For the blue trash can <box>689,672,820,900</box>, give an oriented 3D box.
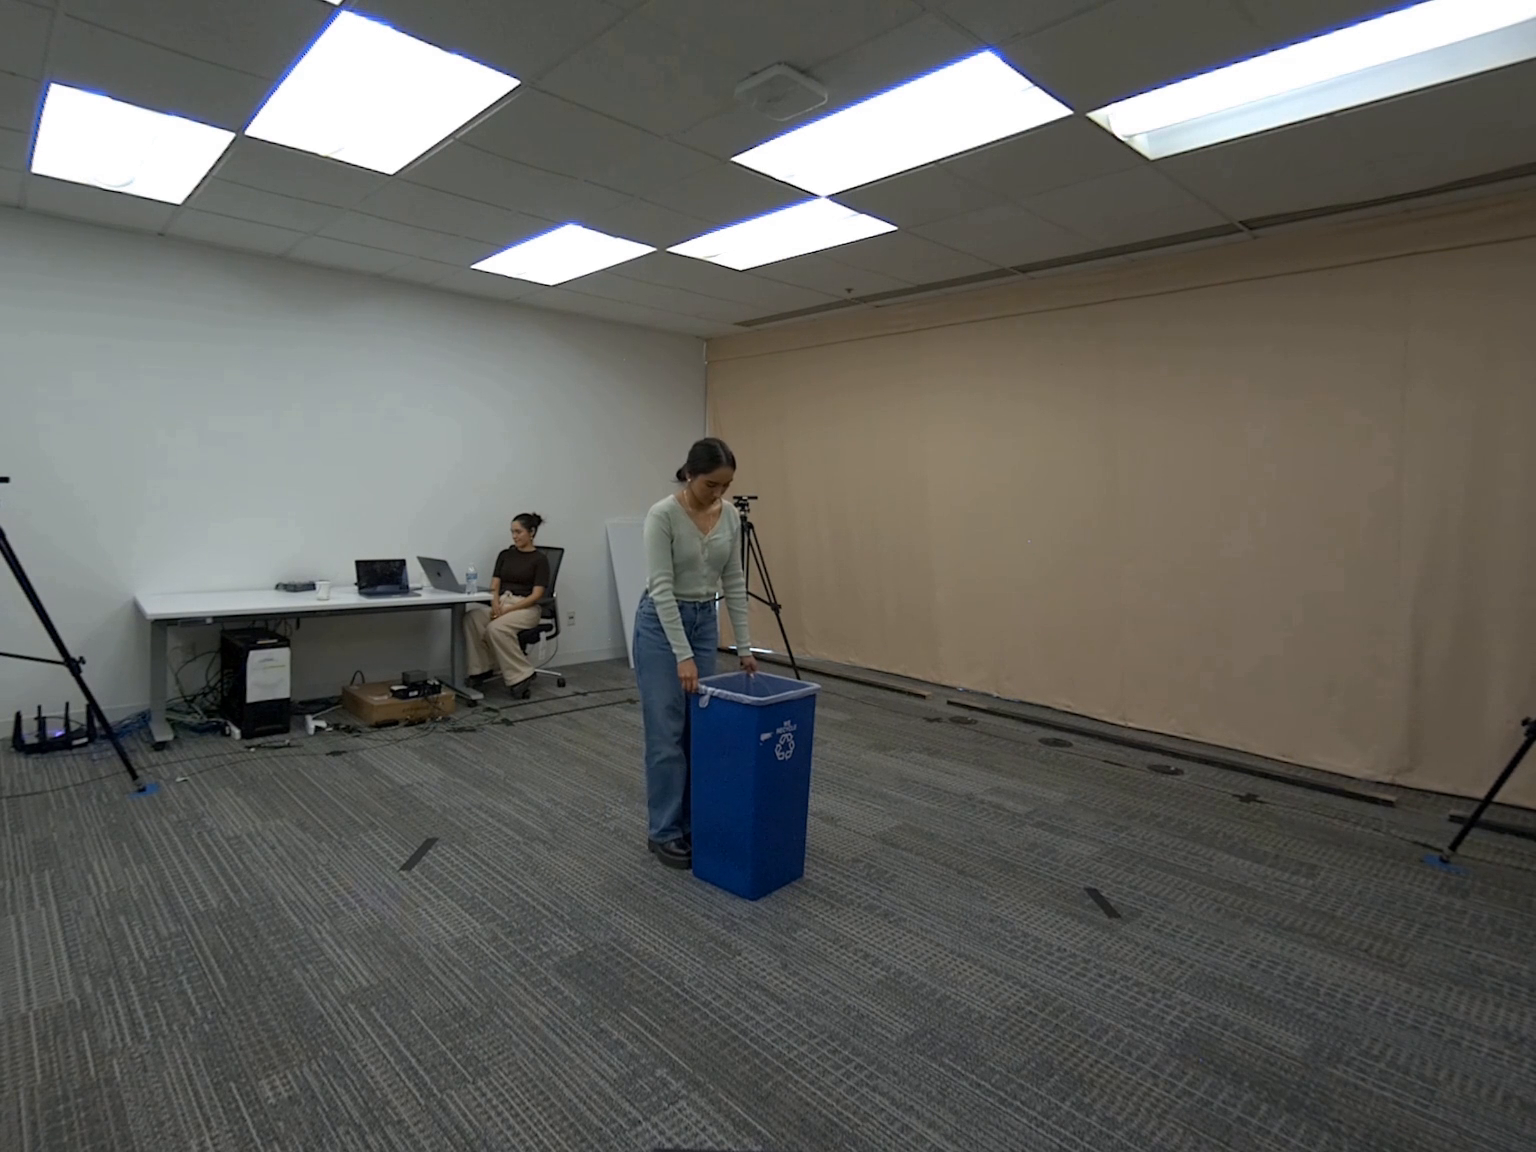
[{"bbox_3d":[-0.066,0.747,3.090,0.387,0.712,0.366,4,5,41],"label":"blue trash can"}]
